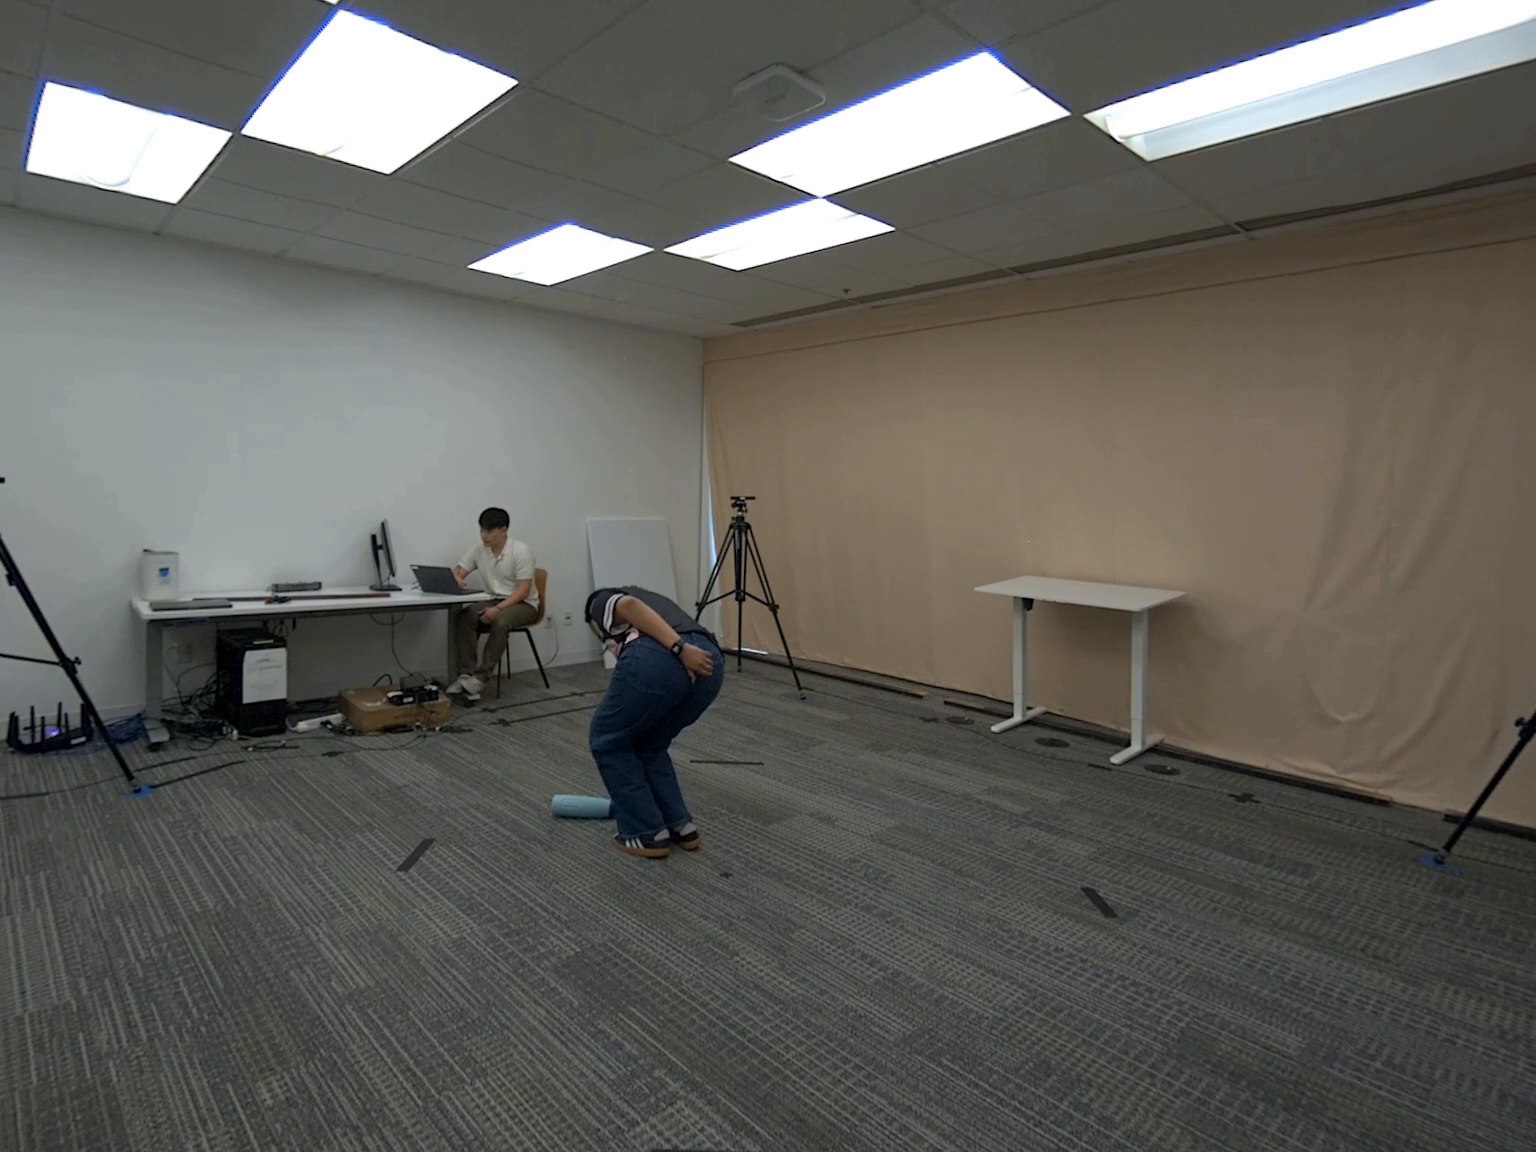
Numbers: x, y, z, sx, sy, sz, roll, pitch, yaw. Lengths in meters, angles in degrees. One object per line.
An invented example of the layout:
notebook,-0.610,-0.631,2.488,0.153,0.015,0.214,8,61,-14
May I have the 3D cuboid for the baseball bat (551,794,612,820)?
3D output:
baseball bat,-0.670,1.008,3.636,0.542,0.089,0.089,5,4,-1
